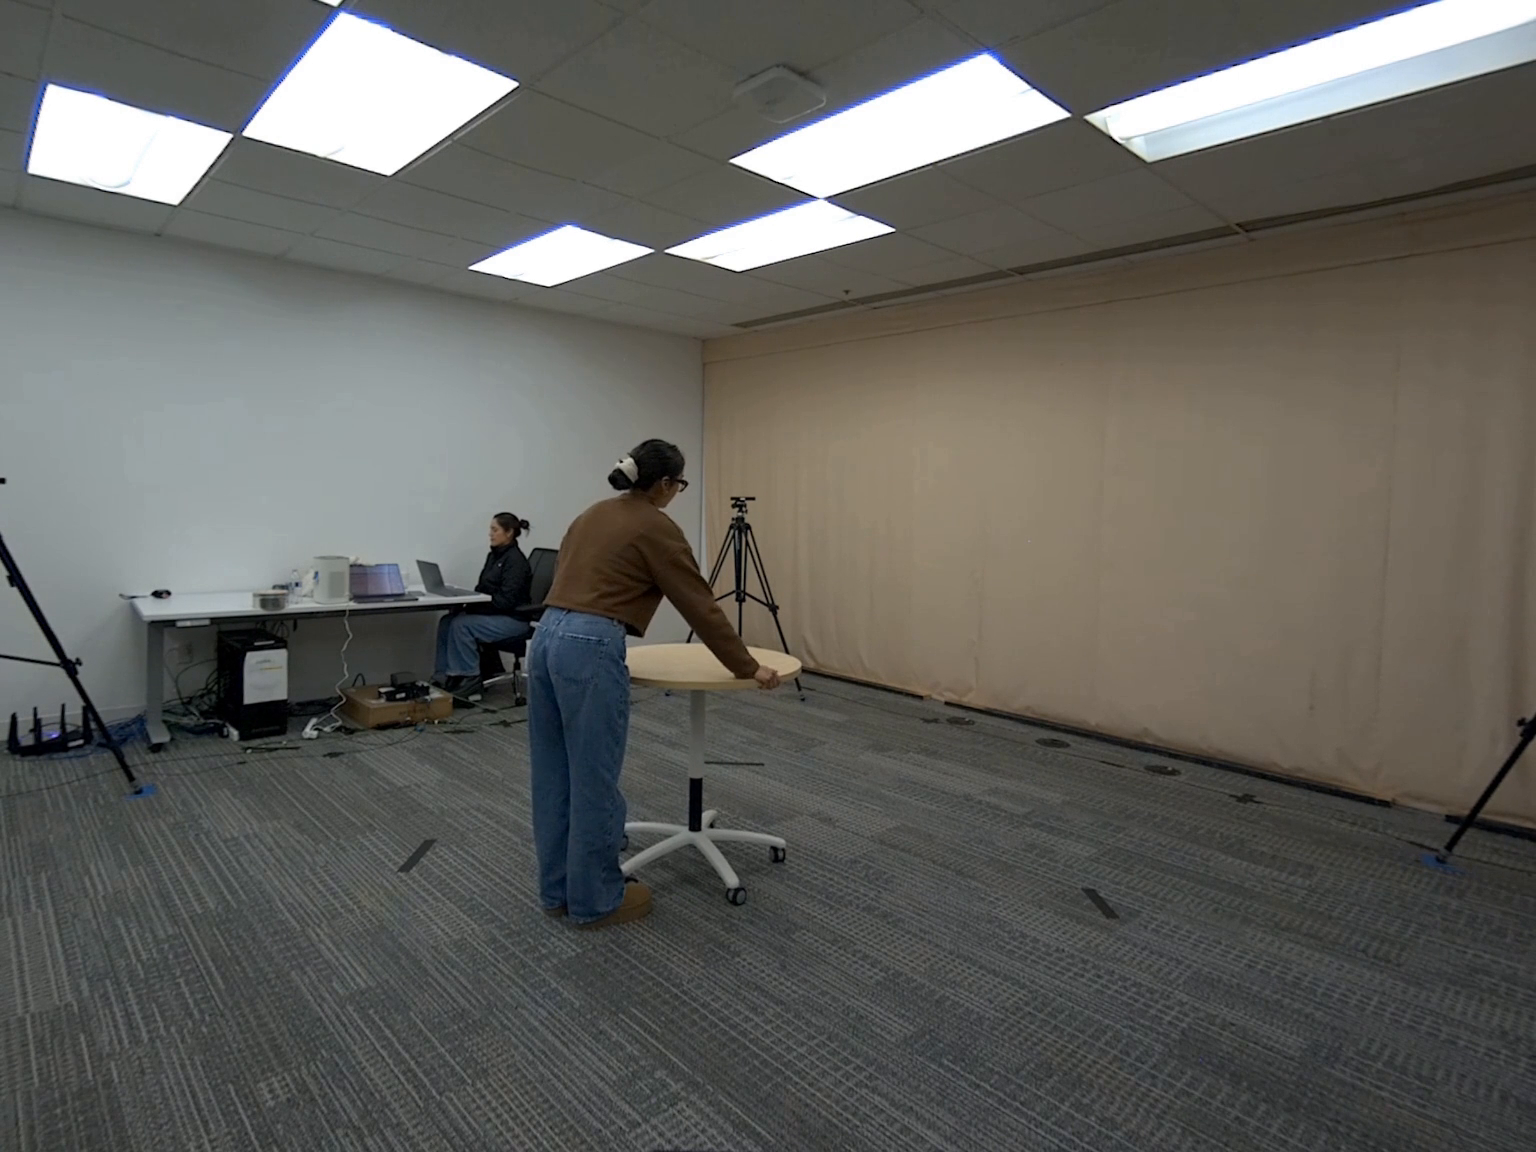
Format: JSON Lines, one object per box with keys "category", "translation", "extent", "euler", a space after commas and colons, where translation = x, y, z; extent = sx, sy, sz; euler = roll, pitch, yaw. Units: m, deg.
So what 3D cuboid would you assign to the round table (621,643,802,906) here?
{"category": "round table", "translation": [-0.264, 0.712, 3.161], "extent": [0.763, 0.792, 0.766], "euler": [1, 4, -1]}
